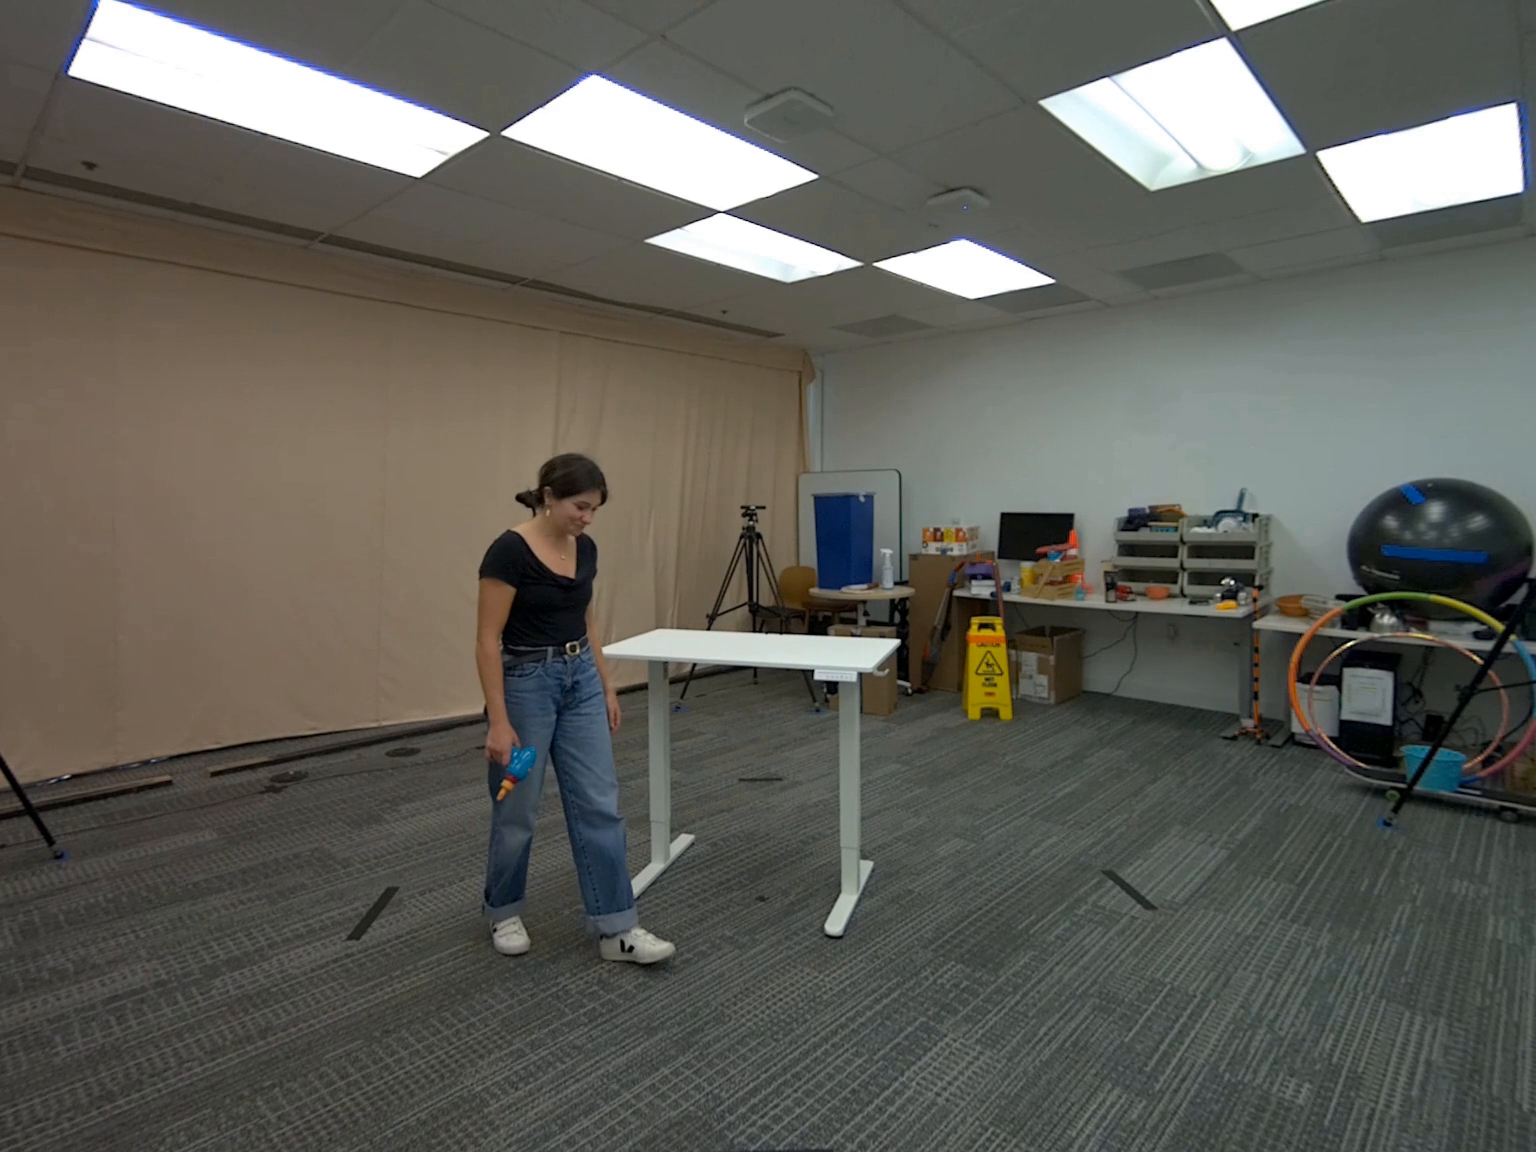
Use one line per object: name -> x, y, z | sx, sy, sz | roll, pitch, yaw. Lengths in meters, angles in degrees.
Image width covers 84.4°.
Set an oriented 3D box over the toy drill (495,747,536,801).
toy drill -> -0.731, 0.537, 2.393 | 0.149, 0.170, 0.059 | 15, -28, 21
